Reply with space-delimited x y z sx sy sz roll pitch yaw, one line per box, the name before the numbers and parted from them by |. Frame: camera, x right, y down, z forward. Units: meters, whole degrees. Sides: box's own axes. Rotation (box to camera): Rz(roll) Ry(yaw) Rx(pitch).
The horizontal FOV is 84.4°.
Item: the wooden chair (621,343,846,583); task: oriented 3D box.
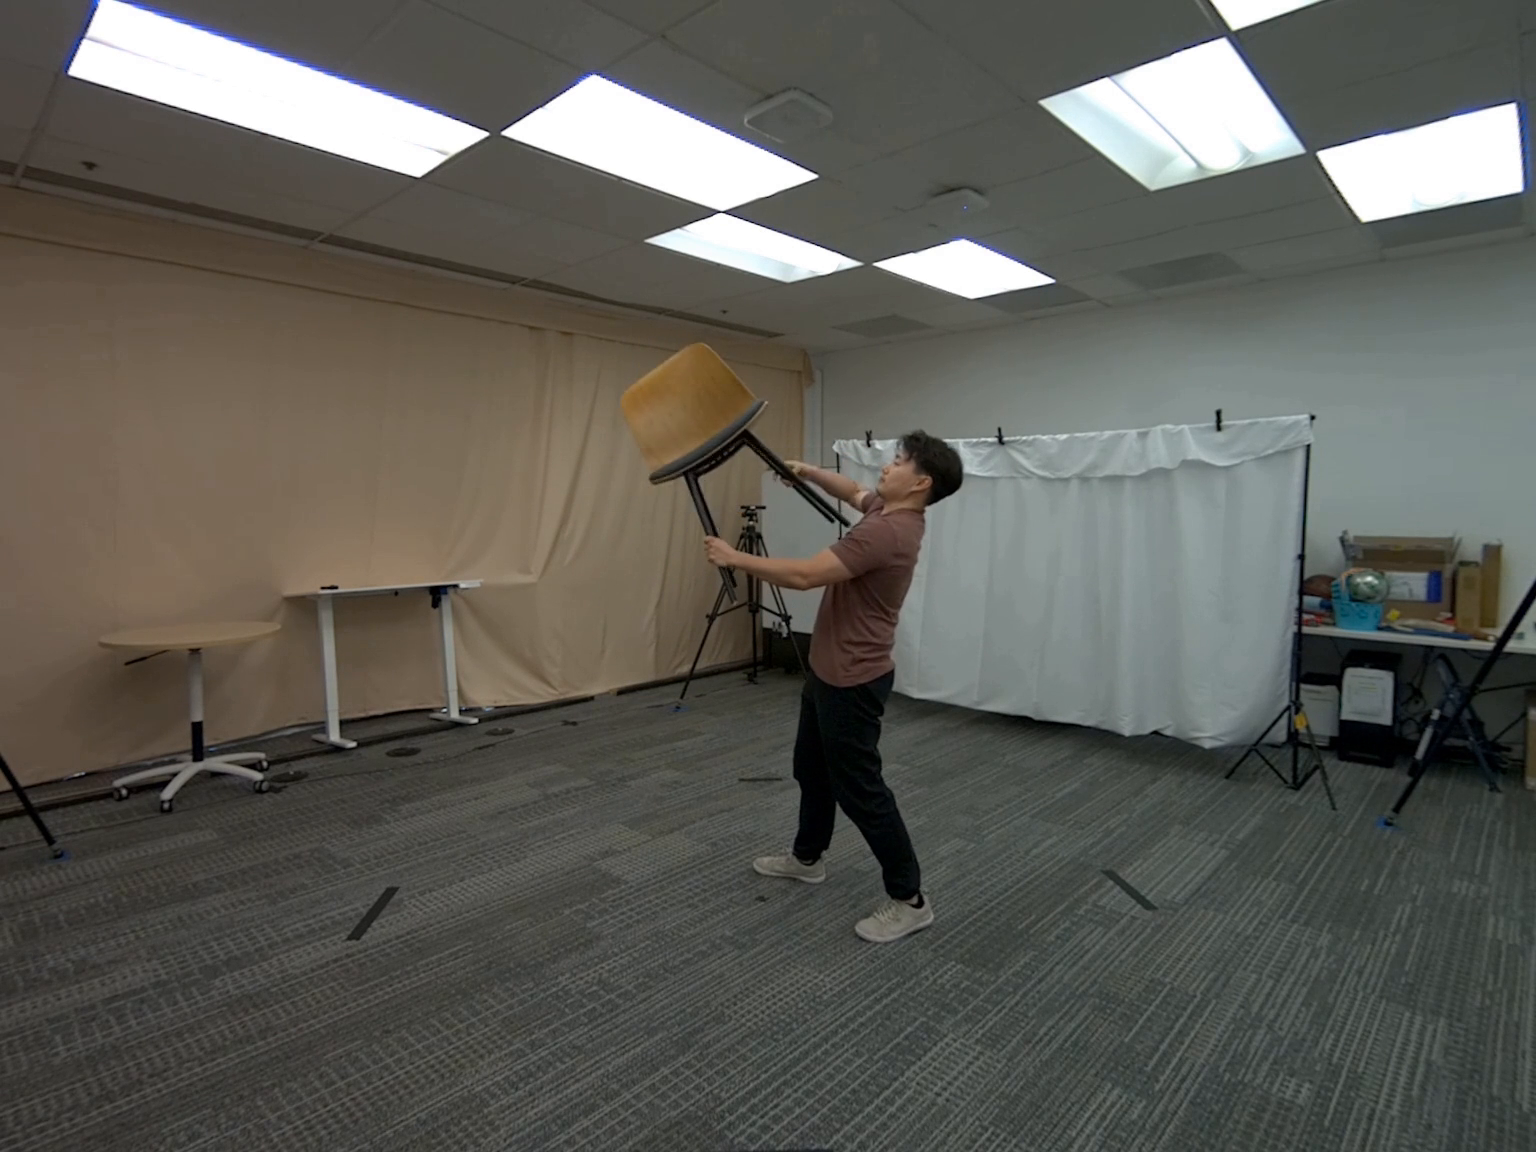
wooden chair | -0.165 -0.403 2.862 0.479 0.879 0.521 -33 -1 3
